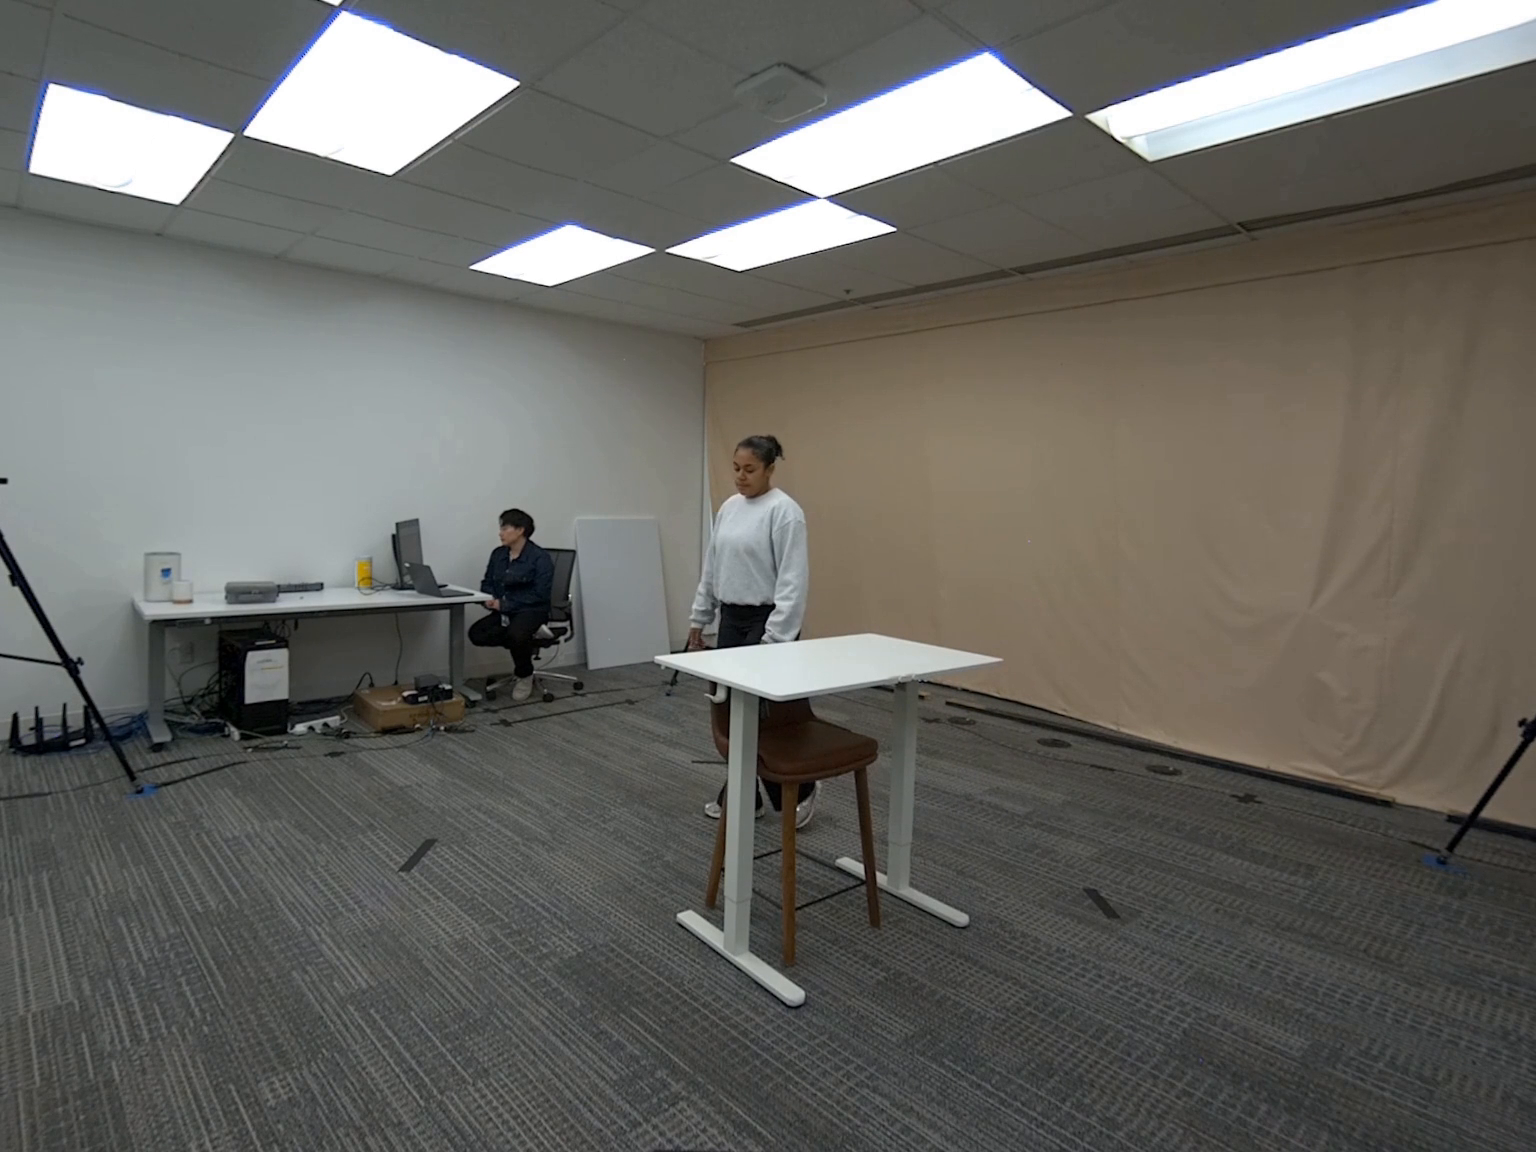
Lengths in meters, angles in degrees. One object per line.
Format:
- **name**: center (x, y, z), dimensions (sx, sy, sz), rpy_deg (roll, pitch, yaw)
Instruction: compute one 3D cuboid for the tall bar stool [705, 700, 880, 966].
- **tall bar stool**: center (0.070, 0.709, 2.789), dimensions (0.446, 0.888, 0.479), rpy_deg (-2, 3, -39)
